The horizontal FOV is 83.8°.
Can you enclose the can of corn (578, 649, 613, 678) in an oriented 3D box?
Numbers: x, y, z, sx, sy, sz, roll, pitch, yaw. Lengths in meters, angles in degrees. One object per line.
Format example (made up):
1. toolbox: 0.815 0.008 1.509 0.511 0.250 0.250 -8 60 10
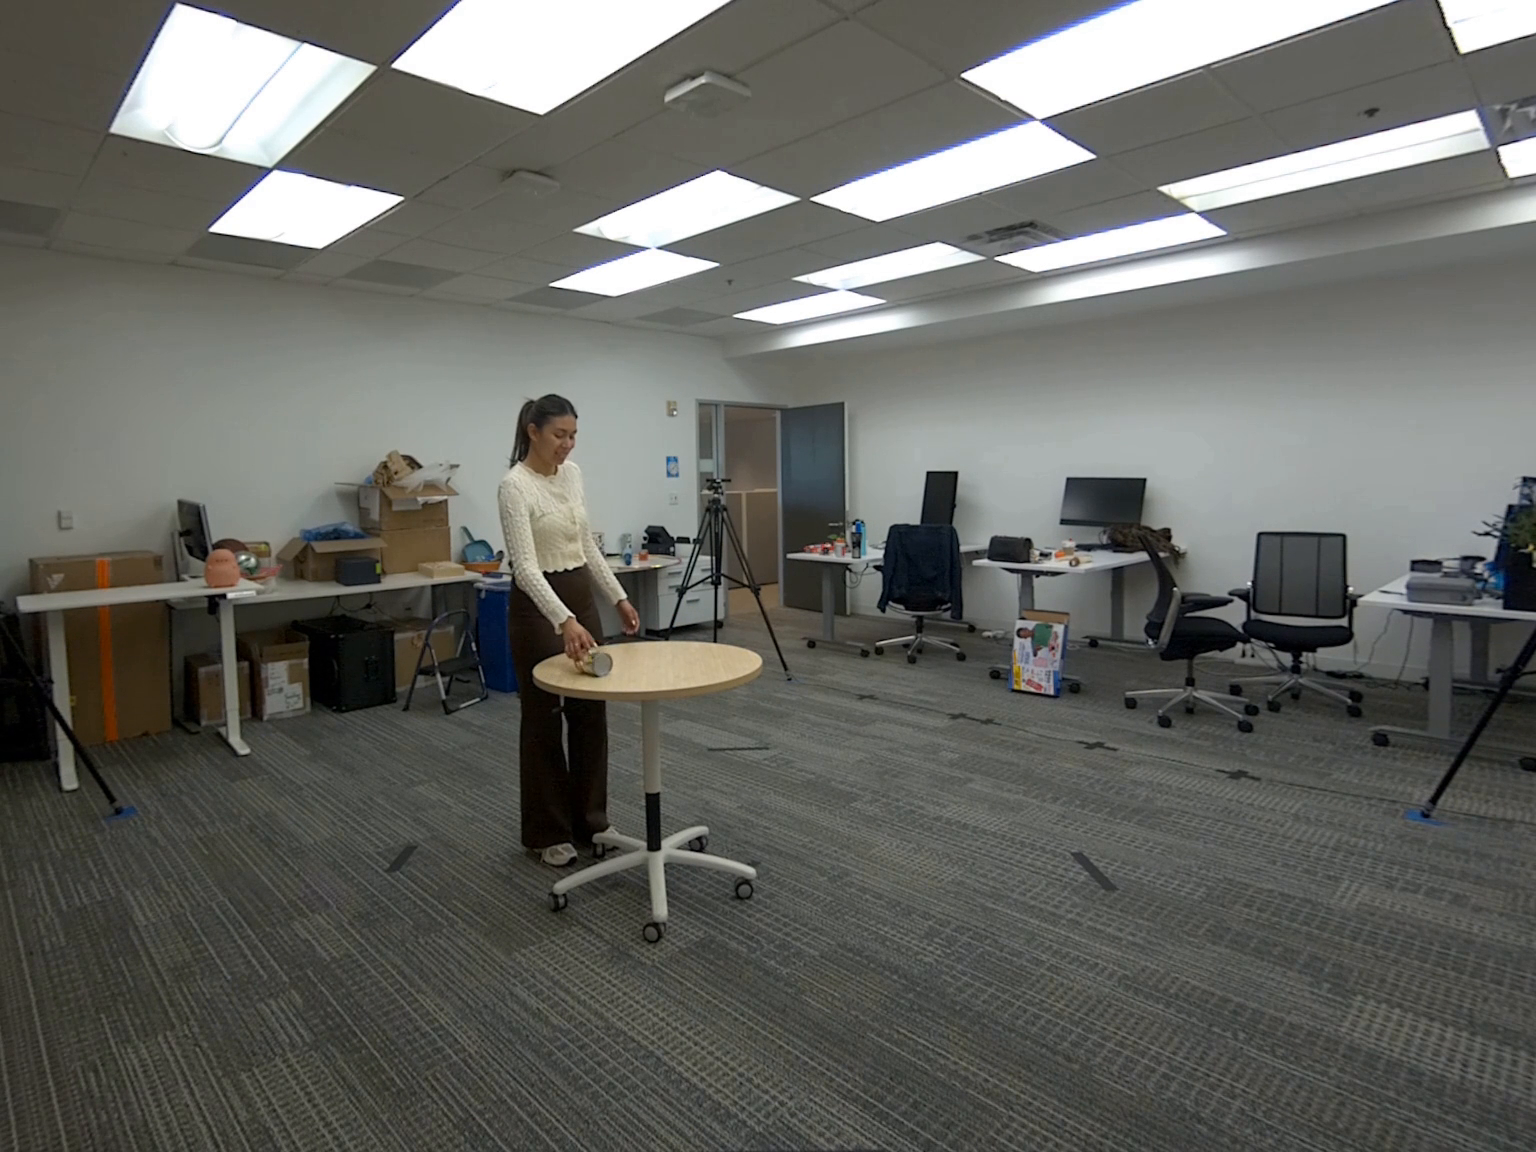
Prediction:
1. can of corn: -0.554 0.274 2.742 0.114 0.074 0.072 3 6 42
